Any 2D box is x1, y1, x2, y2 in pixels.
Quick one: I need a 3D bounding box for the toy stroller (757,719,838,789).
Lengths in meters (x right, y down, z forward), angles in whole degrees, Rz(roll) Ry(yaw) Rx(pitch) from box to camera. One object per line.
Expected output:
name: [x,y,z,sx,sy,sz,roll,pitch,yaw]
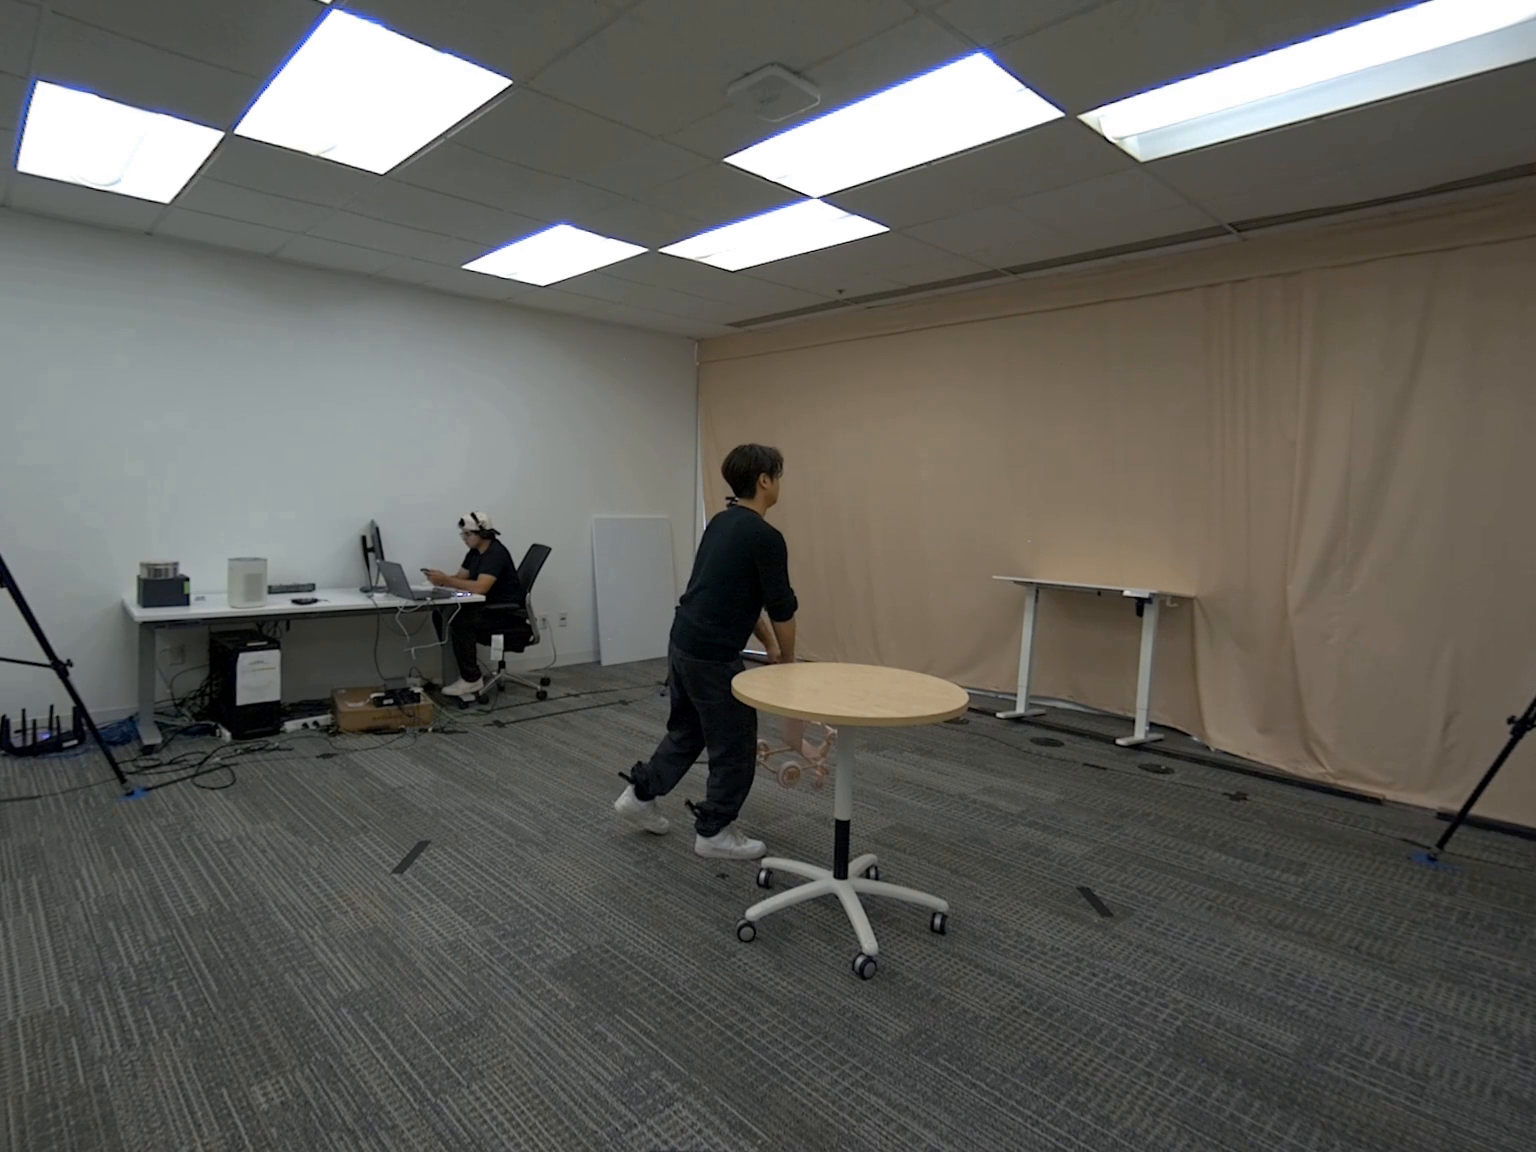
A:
toy stroller: [0.126,0.628,3.490,0.334,0.534,0.288,8,4,-26]
